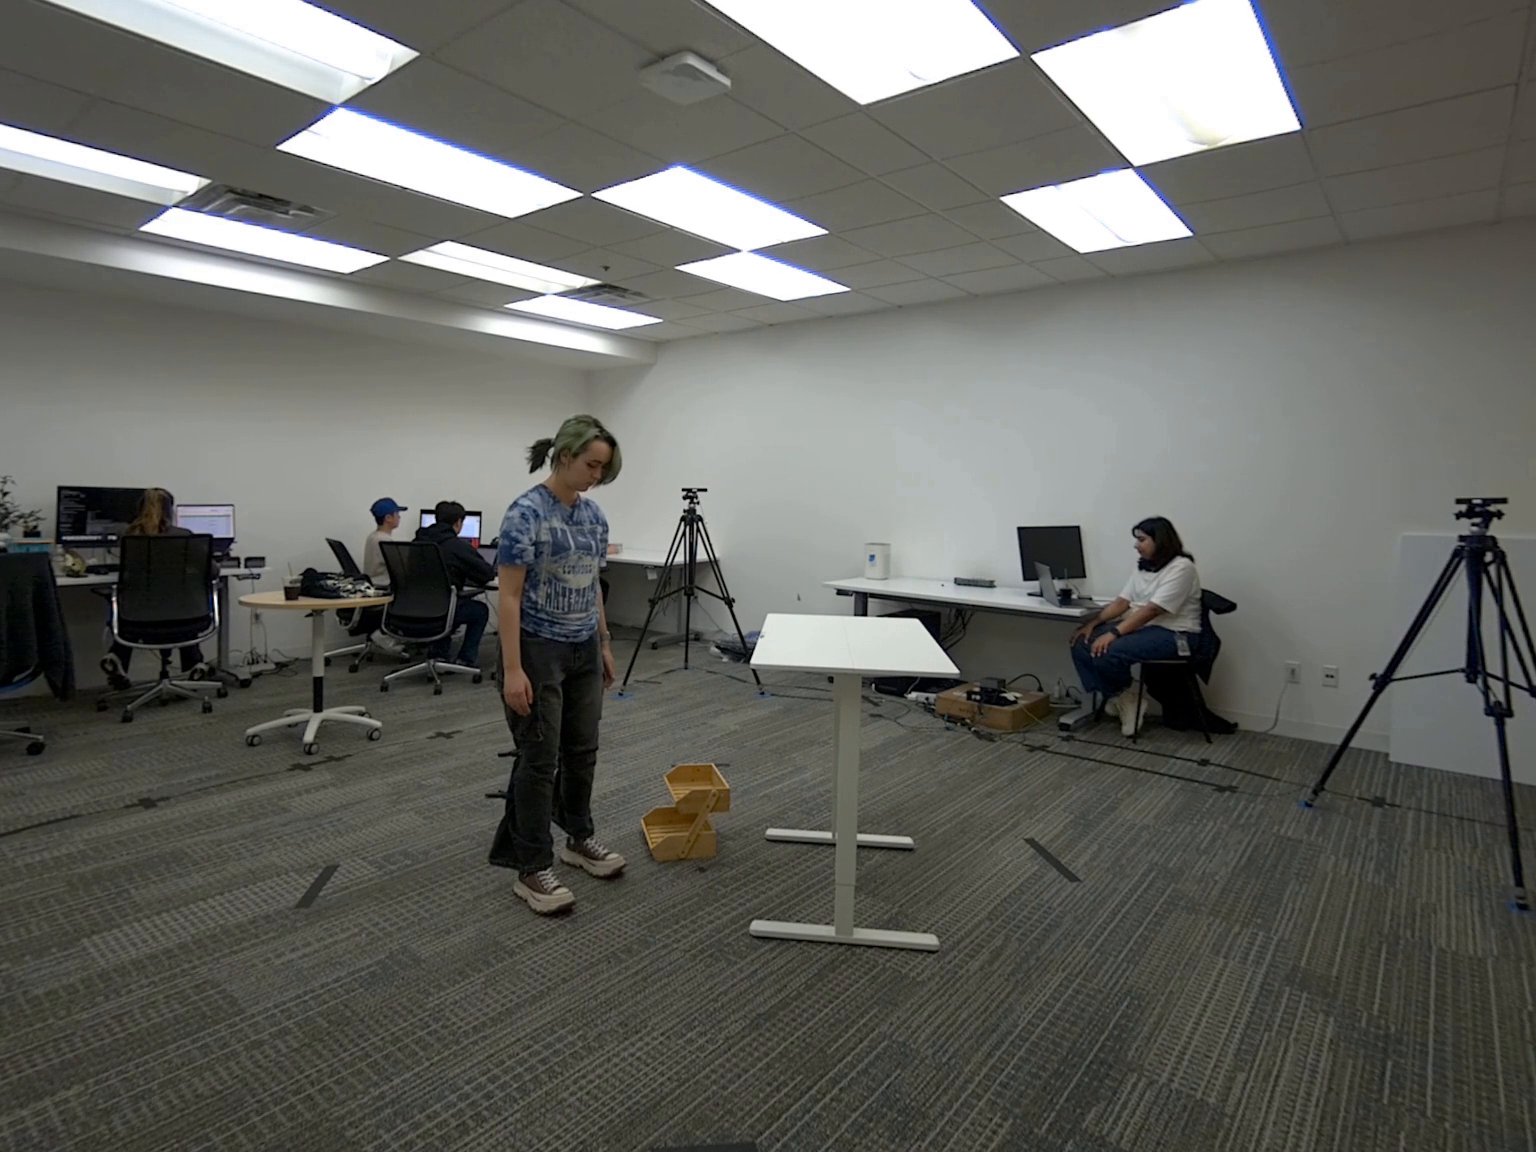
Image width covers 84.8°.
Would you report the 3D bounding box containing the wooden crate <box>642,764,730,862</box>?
[{"bbox_3d":[-0.344,0.909,3.342,0.297,0.272,0.330,0,4,-15],"label":"wooden crate"}]
